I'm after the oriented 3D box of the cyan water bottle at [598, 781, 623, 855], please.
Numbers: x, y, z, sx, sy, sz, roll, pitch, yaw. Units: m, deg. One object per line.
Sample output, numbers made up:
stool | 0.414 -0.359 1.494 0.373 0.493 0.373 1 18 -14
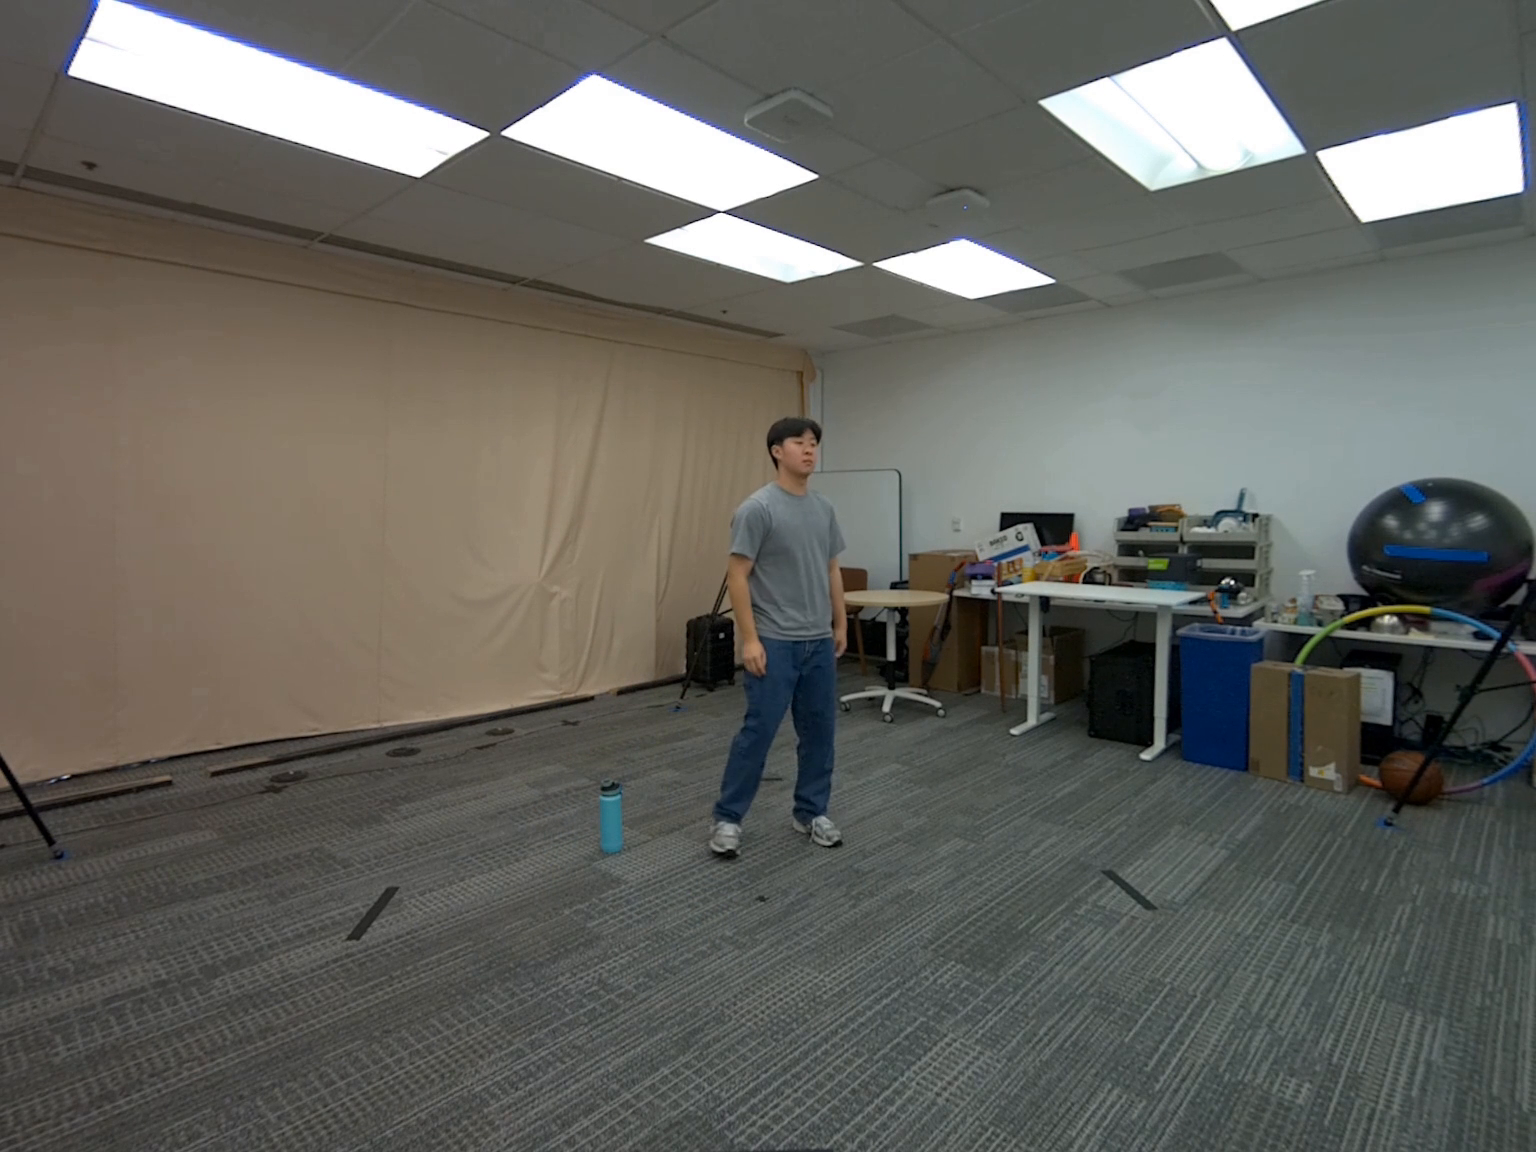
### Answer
cyan water bottle | -0.640 0.977 3.431 0.092 0.283 0.092 1 2 -2
